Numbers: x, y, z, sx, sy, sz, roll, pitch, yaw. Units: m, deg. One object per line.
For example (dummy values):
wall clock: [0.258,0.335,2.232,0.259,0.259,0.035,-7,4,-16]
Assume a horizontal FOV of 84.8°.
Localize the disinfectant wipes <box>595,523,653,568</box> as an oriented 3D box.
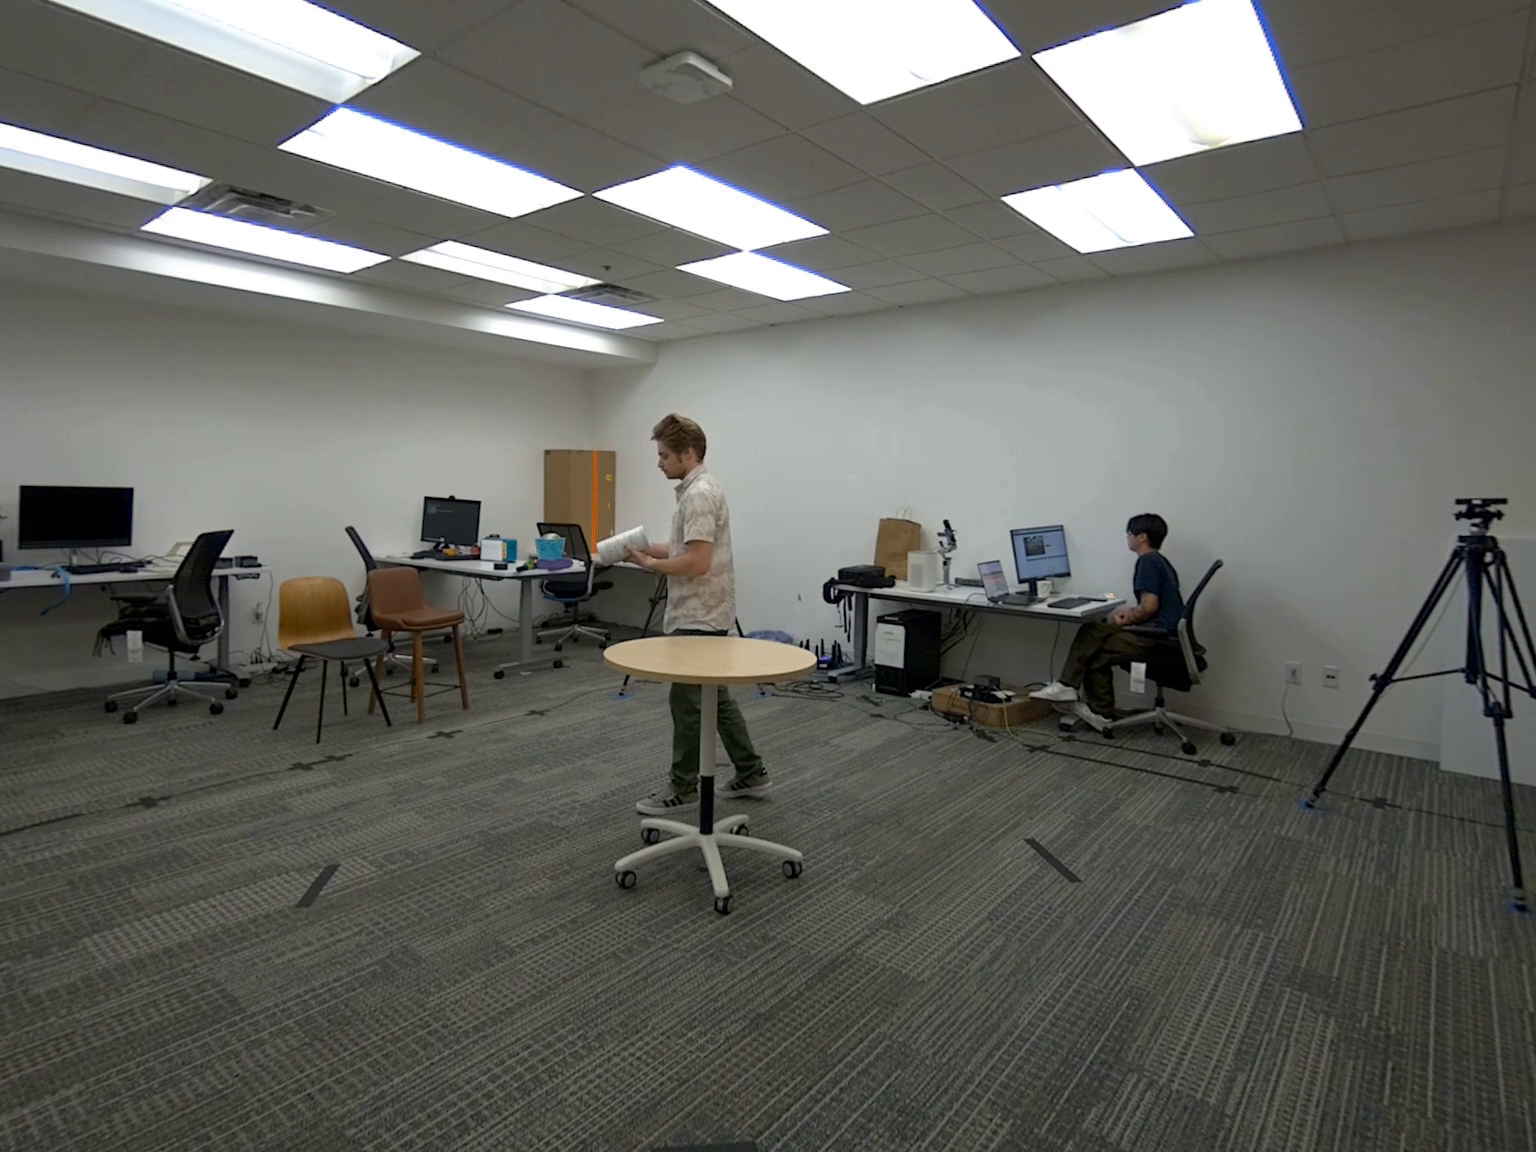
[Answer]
disinfectant wipes: [-0.622,-0.136,3.649,0.217,0.117,0.118,-21,5,0]
